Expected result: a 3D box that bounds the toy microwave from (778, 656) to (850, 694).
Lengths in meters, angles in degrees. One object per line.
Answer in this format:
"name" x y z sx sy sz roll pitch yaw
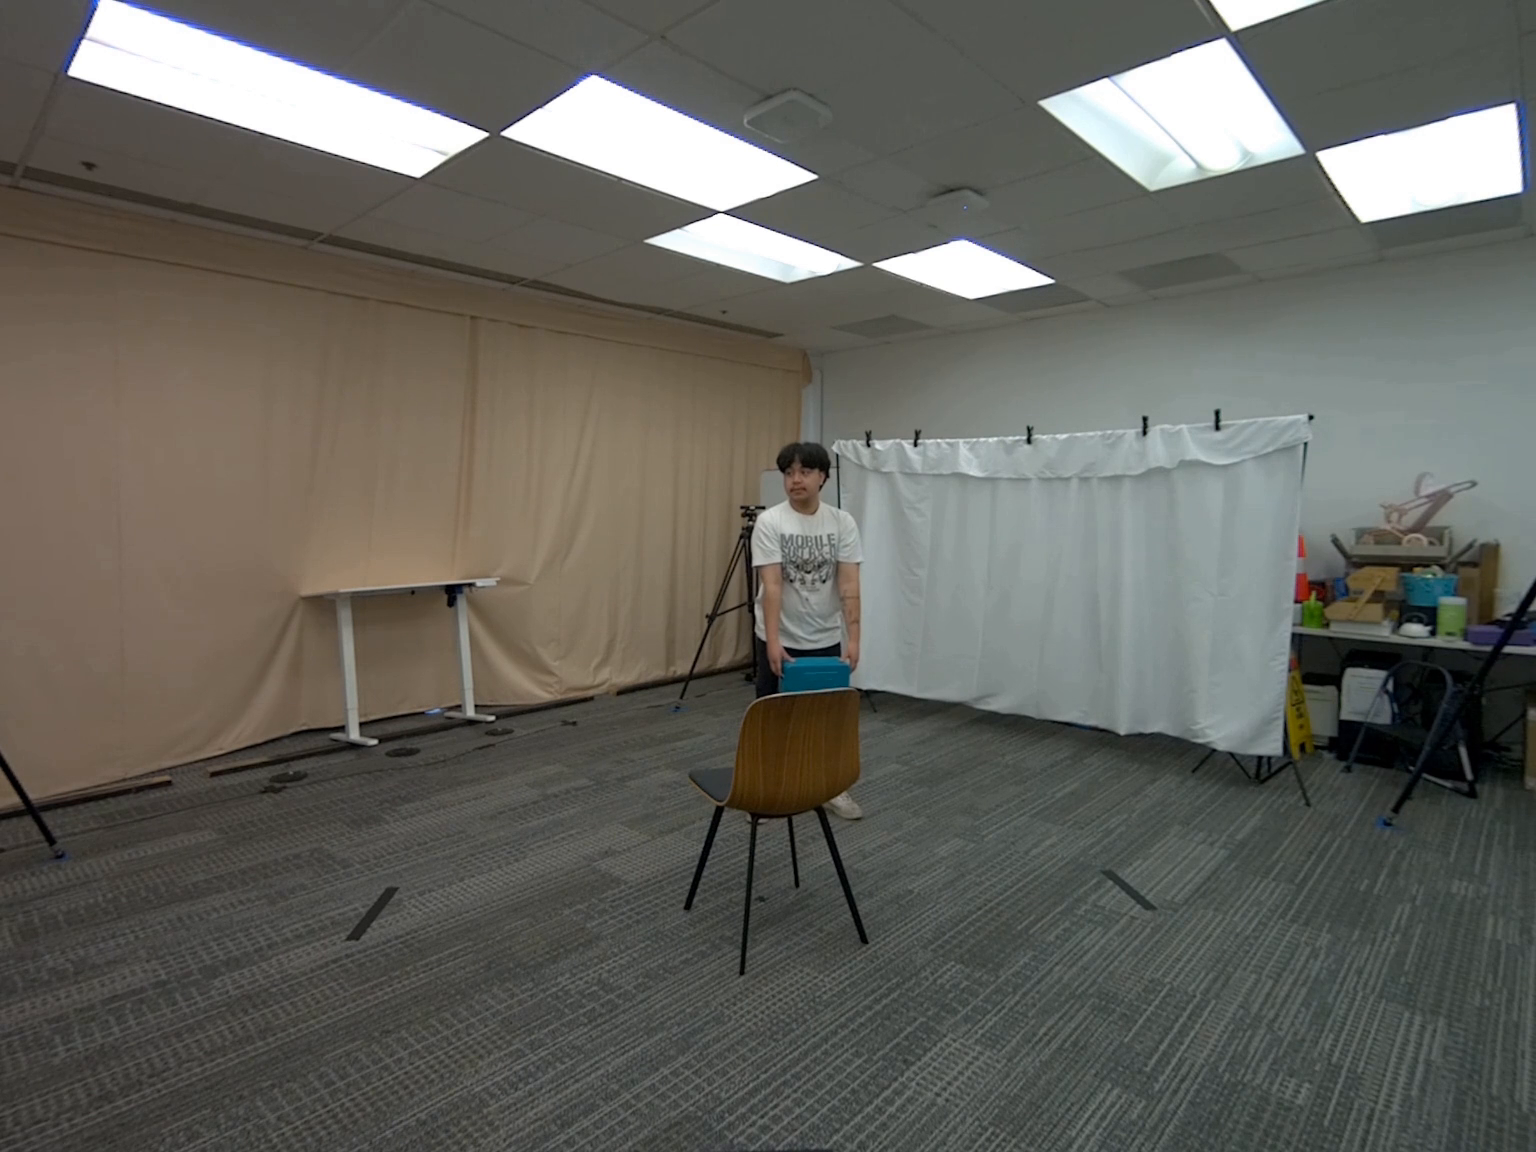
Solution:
"toy microwave" 0.192 0.443 3.589 0.284 0.183 0.154 0 9 -9
